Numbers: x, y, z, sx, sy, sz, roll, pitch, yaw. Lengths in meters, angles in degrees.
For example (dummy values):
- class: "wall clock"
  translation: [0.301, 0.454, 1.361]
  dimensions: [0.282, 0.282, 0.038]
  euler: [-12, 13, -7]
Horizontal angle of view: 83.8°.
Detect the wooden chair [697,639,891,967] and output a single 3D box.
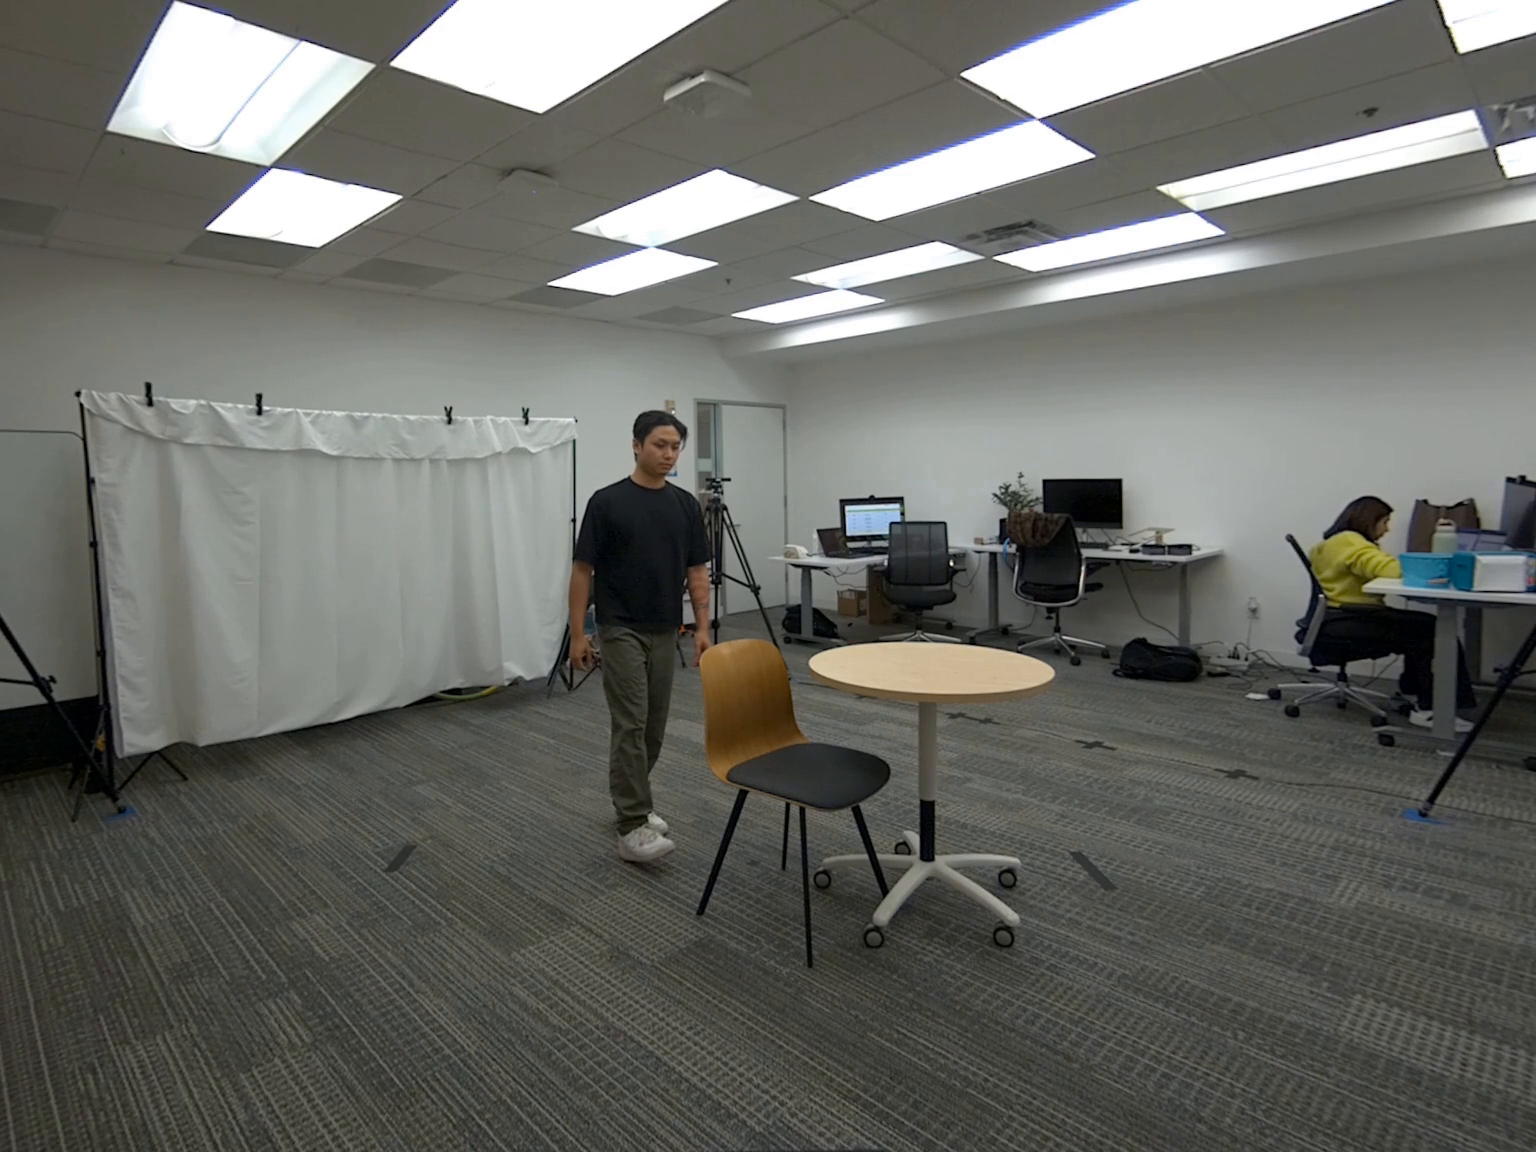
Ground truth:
- class: "wooden chair"
  translation: [0.092, 0.656, 2.712]
  dimensions: [0.537, 0.876, 0.466]
  euler: [-3, 2, 41]
